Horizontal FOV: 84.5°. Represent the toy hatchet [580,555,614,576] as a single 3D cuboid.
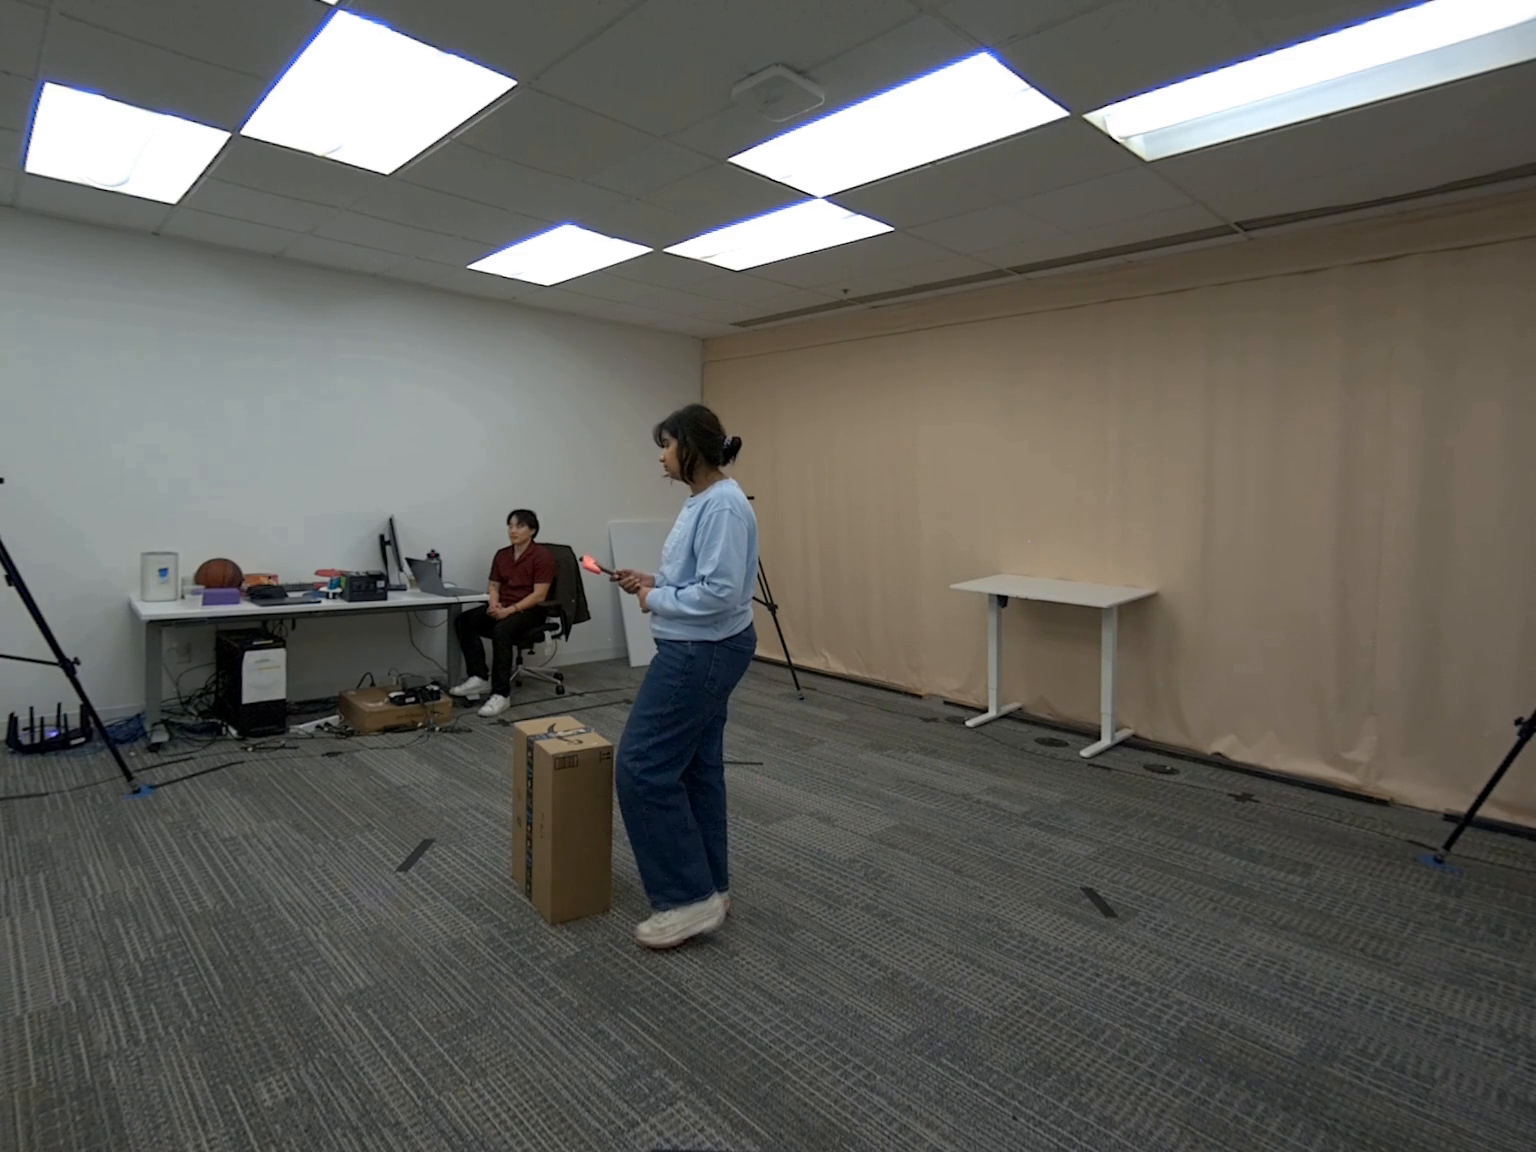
[{"bbox_3d":[-0.501,-0.003,2.726,0.274,0.029,0.130,28,11,13],"label":"toy hatchet"}]
